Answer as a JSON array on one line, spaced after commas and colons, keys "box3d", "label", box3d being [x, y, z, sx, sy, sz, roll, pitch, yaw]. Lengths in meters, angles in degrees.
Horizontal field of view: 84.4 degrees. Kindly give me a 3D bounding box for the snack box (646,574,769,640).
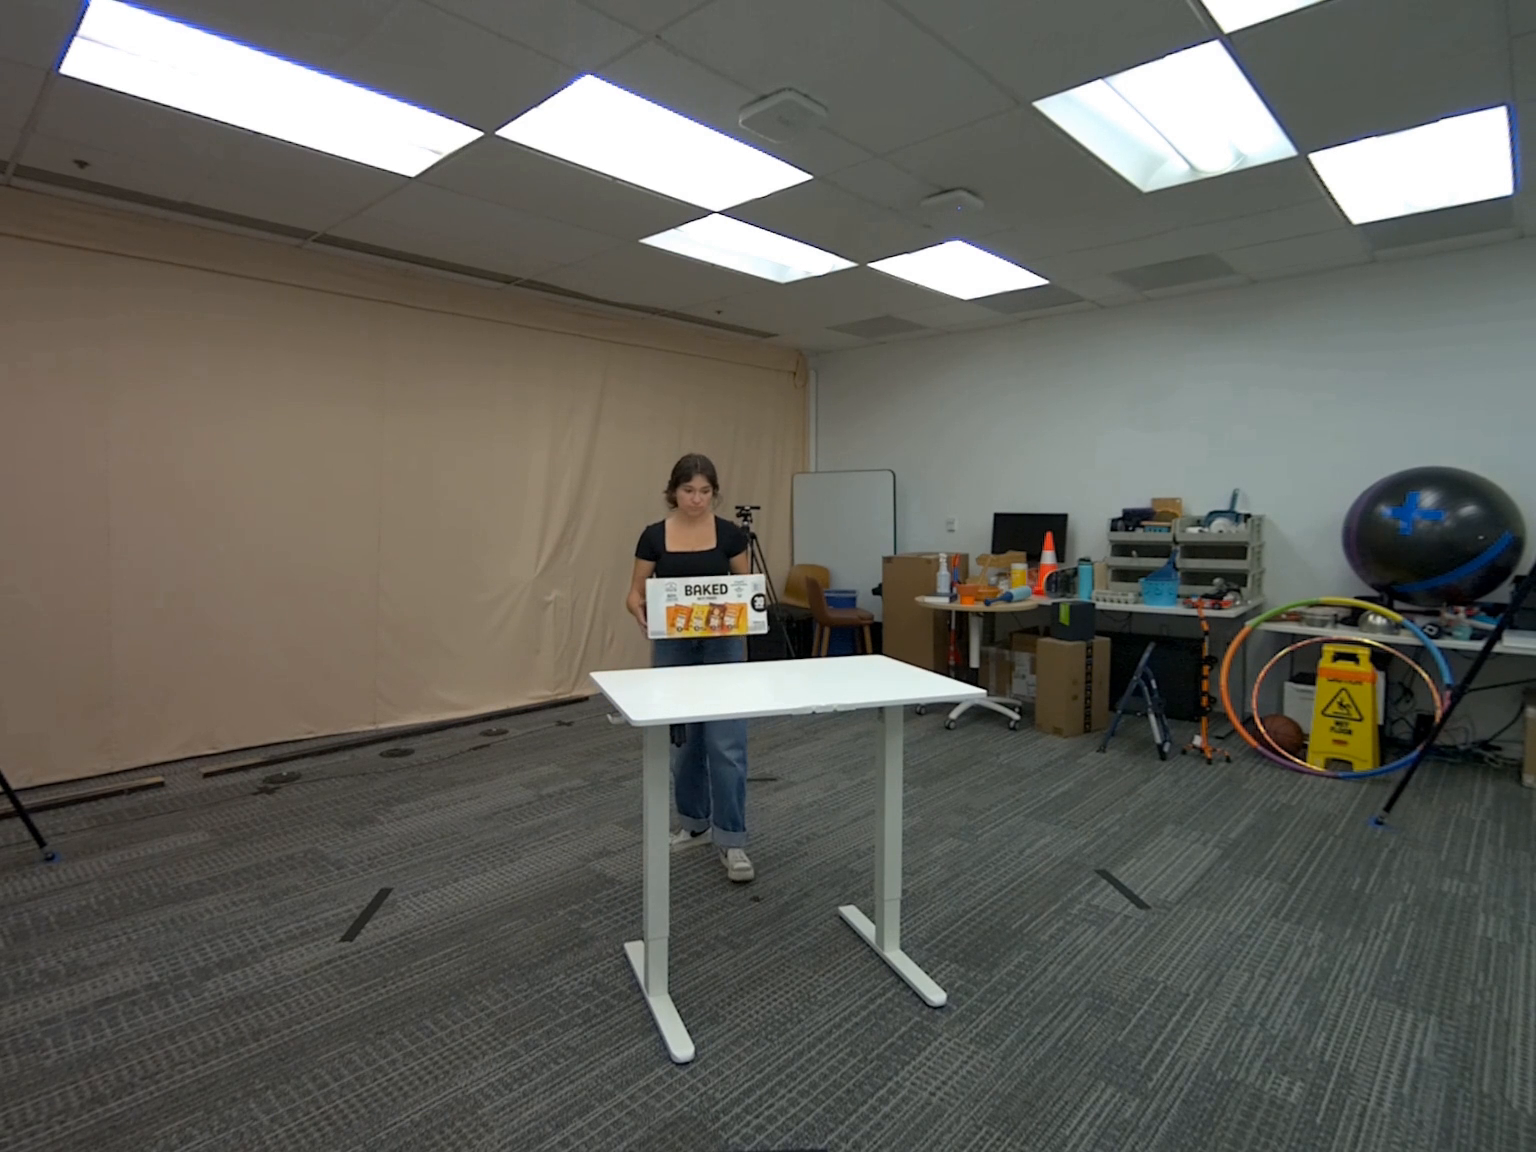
[{"box3d": [-0.230, 0.107, 2.999, 0.402, 0.206, 0.342, -3, -1, -7], "label": "snack box"}]
